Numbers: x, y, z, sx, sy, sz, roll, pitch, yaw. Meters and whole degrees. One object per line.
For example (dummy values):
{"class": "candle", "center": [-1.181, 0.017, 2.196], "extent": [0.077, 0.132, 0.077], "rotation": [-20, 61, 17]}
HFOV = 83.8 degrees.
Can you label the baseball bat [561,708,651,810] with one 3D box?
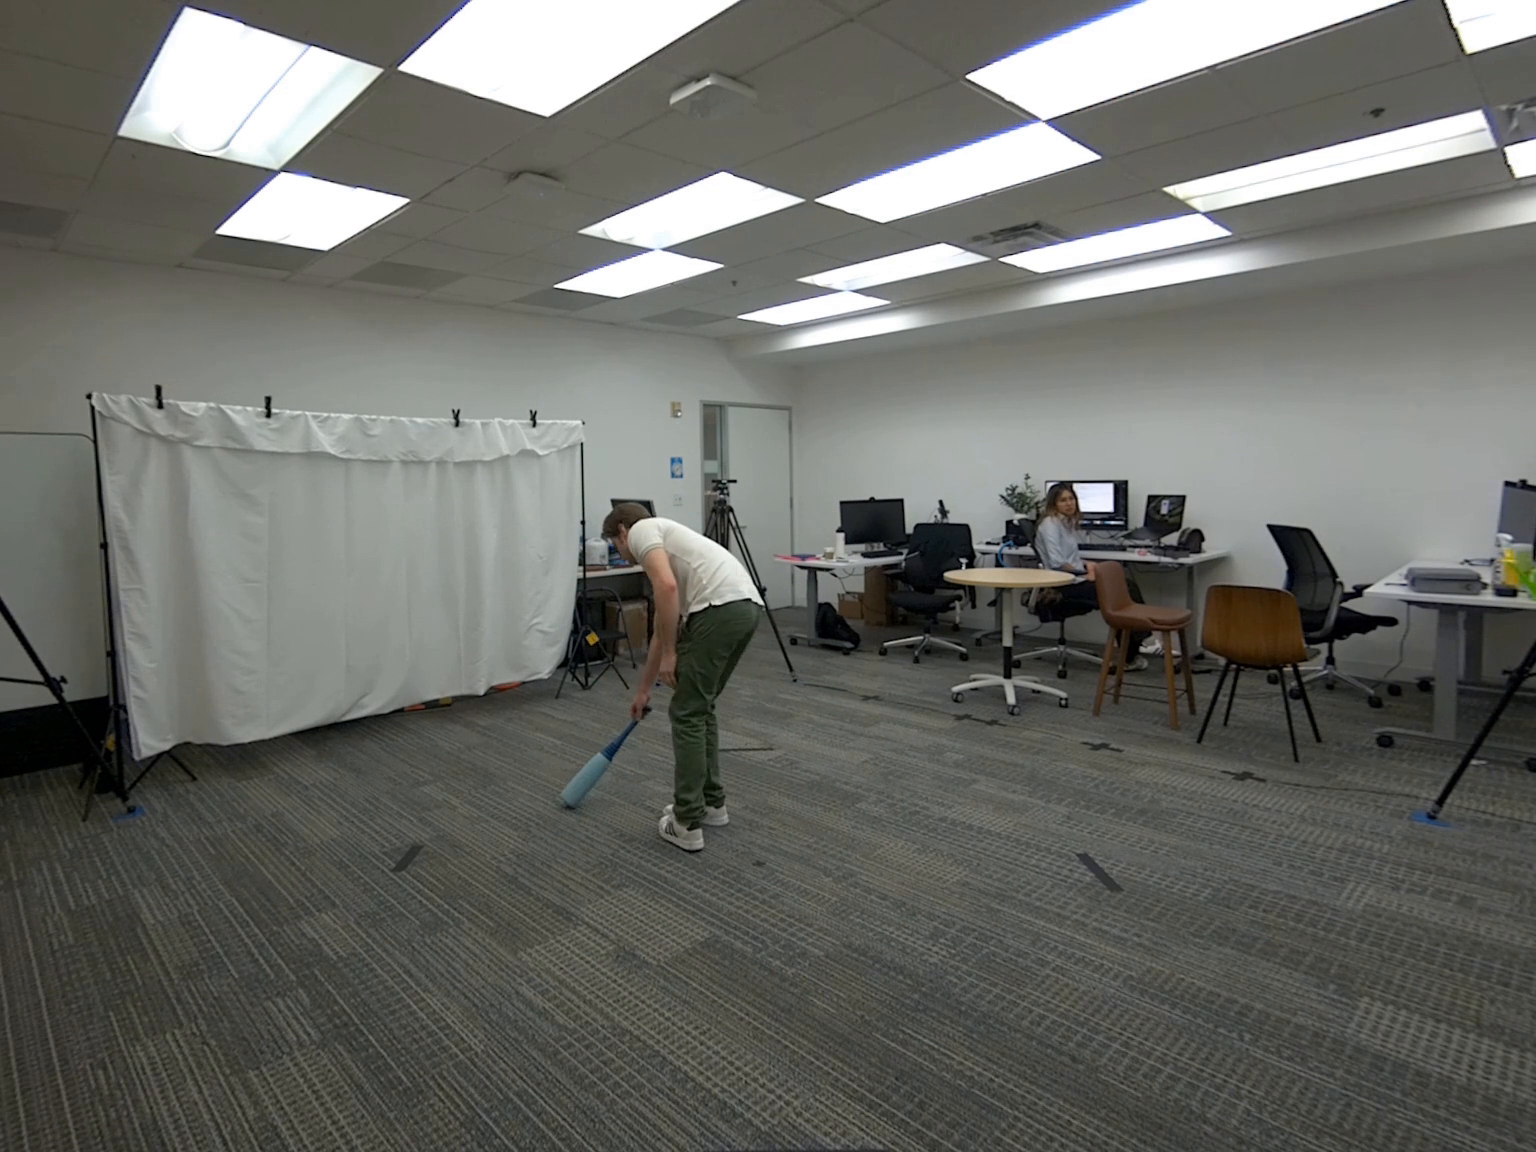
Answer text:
{"class": "baseball bat", "center": [-0.695, 0.782, 3.746], "extent": [0.543, 0.087, 0.091], "rotation": [-49, 22, -15]}
